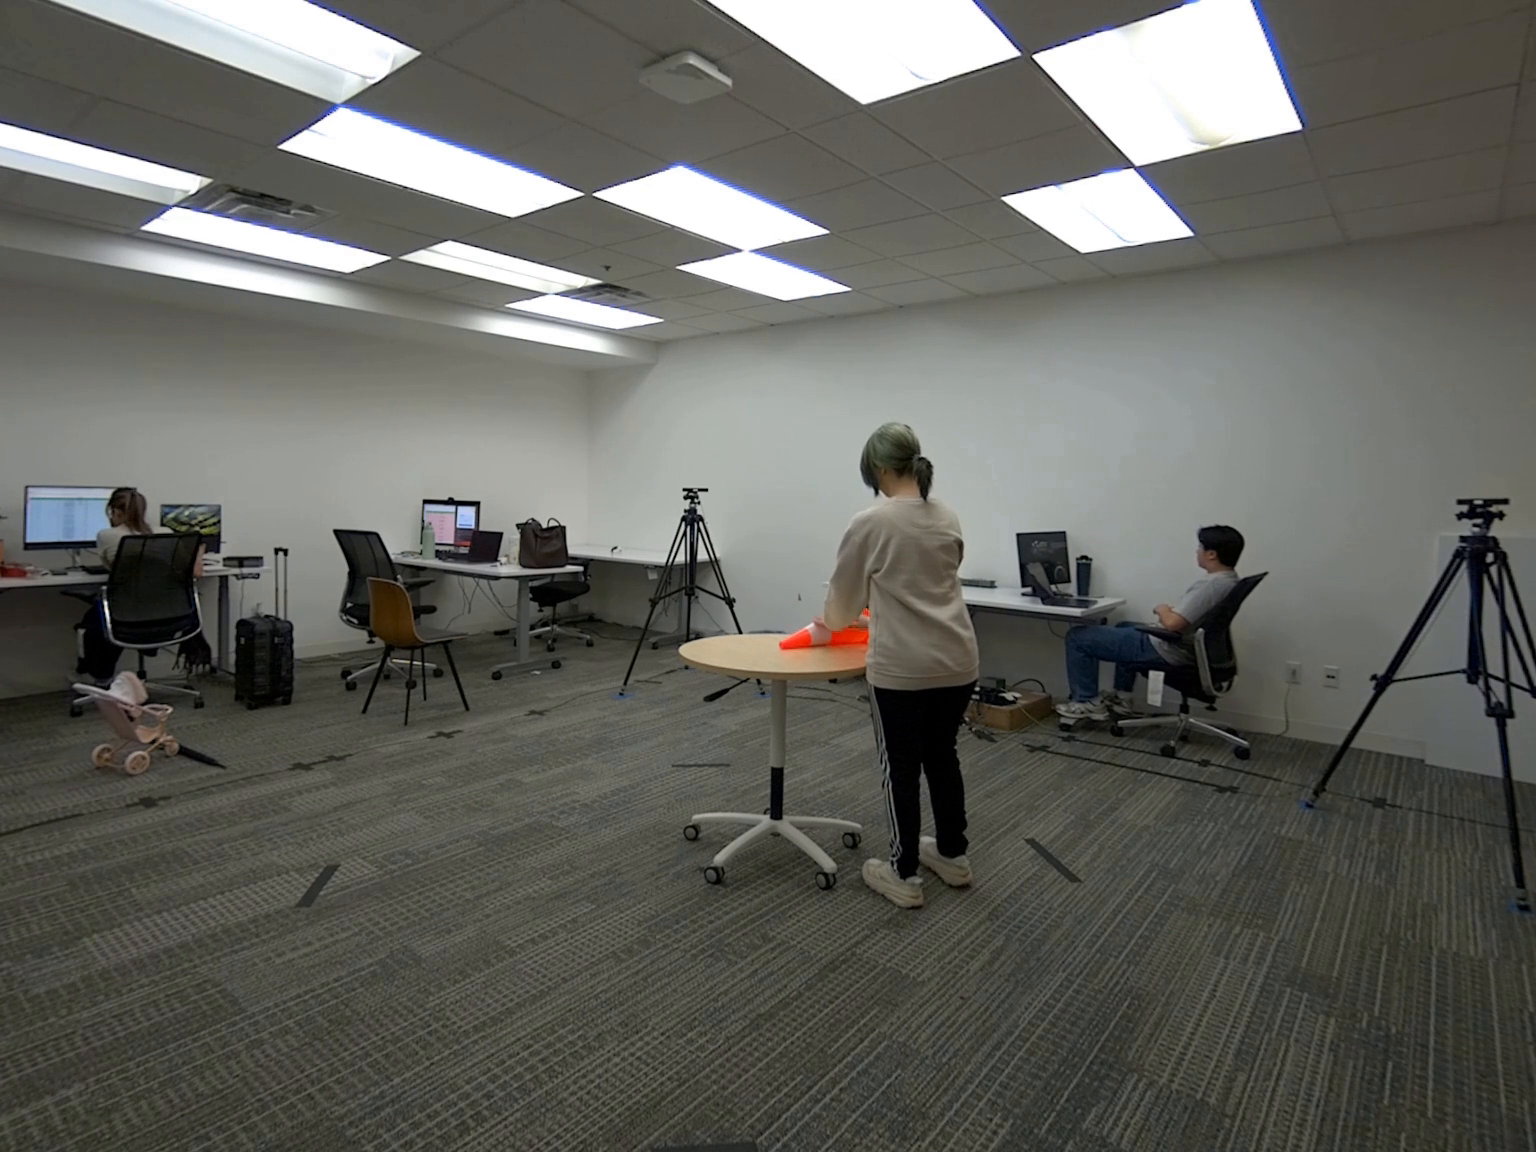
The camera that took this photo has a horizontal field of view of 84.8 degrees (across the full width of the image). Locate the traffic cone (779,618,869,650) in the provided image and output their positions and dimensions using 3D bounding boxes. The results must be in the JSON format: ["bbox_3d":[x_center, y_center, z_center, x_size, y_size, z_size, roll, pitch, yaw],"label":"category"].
[{"bbox_3d":[0.194,0.223,3.348,0.375,0.201,0.212,-16,46,-33],"label":"traffic cone"}]
